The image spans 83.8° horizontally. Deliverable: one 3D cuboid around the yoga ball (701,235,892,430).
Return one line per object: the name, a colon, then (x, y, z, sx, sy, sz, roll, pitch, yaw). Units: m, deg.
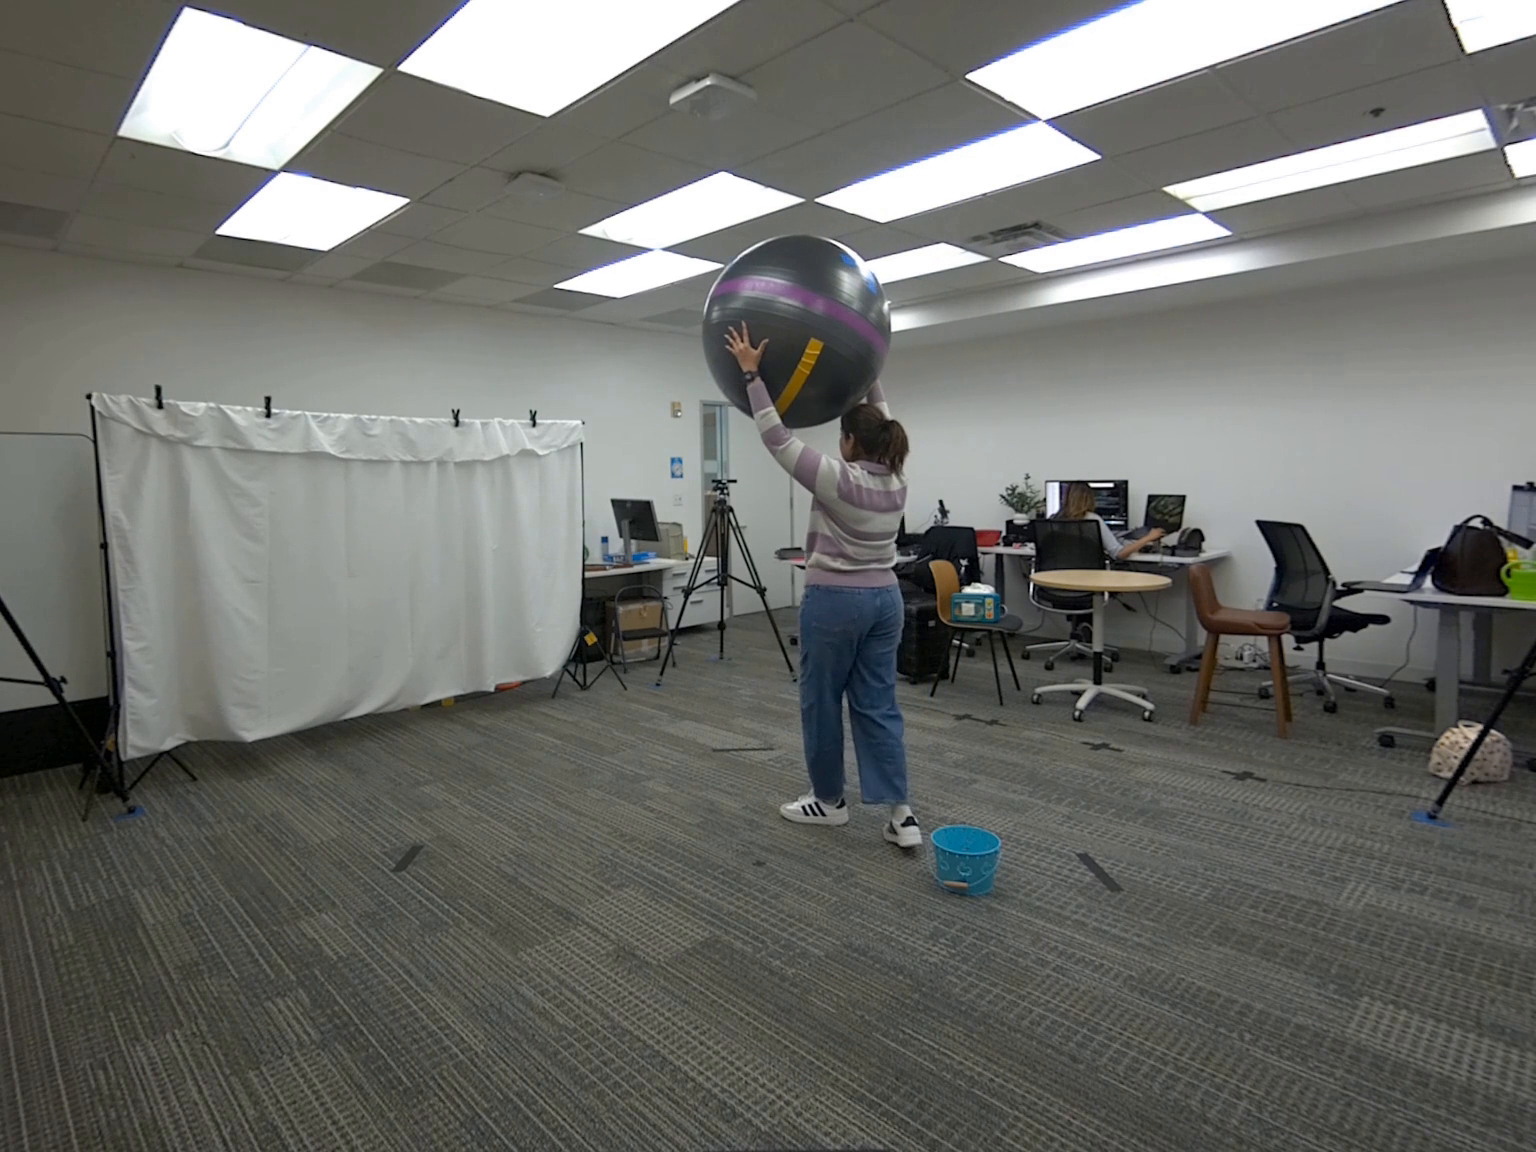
yoga ball: (0.114, -0.972, 3.445, 0.757, 0.755, 0.762, -1, 5, -2)
